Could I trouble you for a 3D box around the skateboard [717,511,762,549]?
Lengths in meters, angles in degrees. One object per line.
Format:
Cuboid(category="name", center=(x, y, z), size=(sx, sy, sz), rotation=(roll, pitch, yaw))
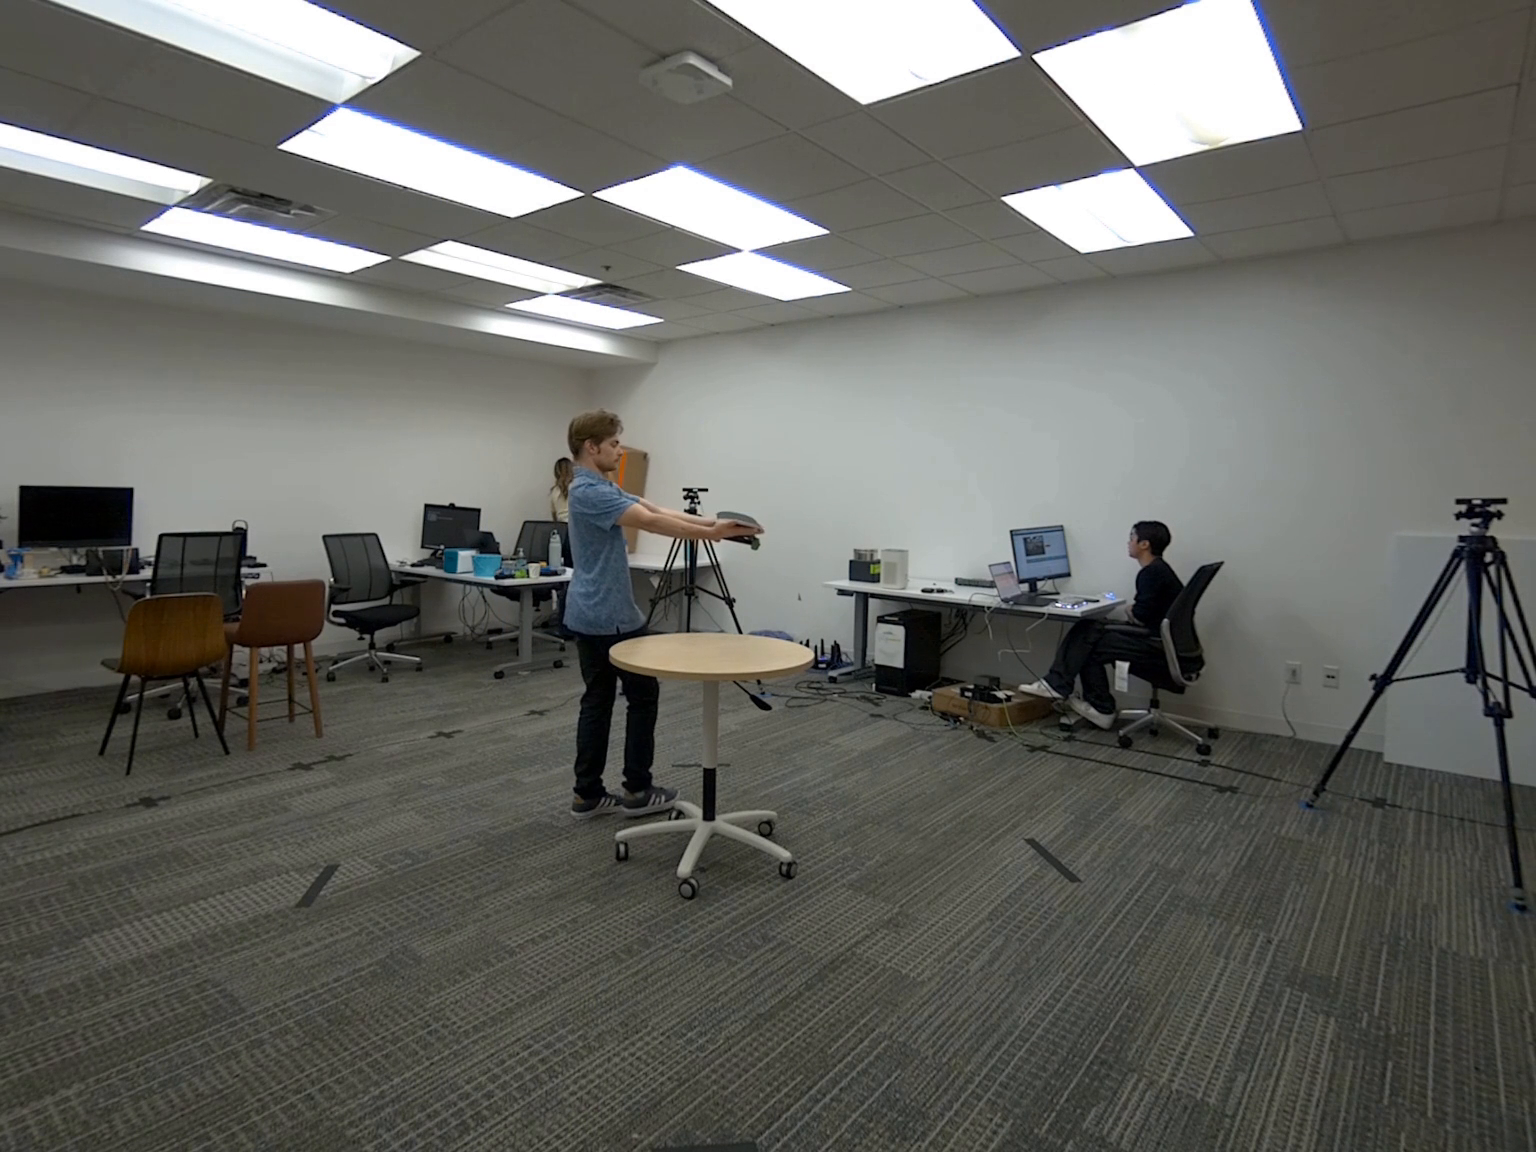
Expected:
Cuboid(category="skateboard", center=(-0.138, -0.199, 3.586), size=(0.192, 0.110, 0.792), rotation=(12, 6, -5))
